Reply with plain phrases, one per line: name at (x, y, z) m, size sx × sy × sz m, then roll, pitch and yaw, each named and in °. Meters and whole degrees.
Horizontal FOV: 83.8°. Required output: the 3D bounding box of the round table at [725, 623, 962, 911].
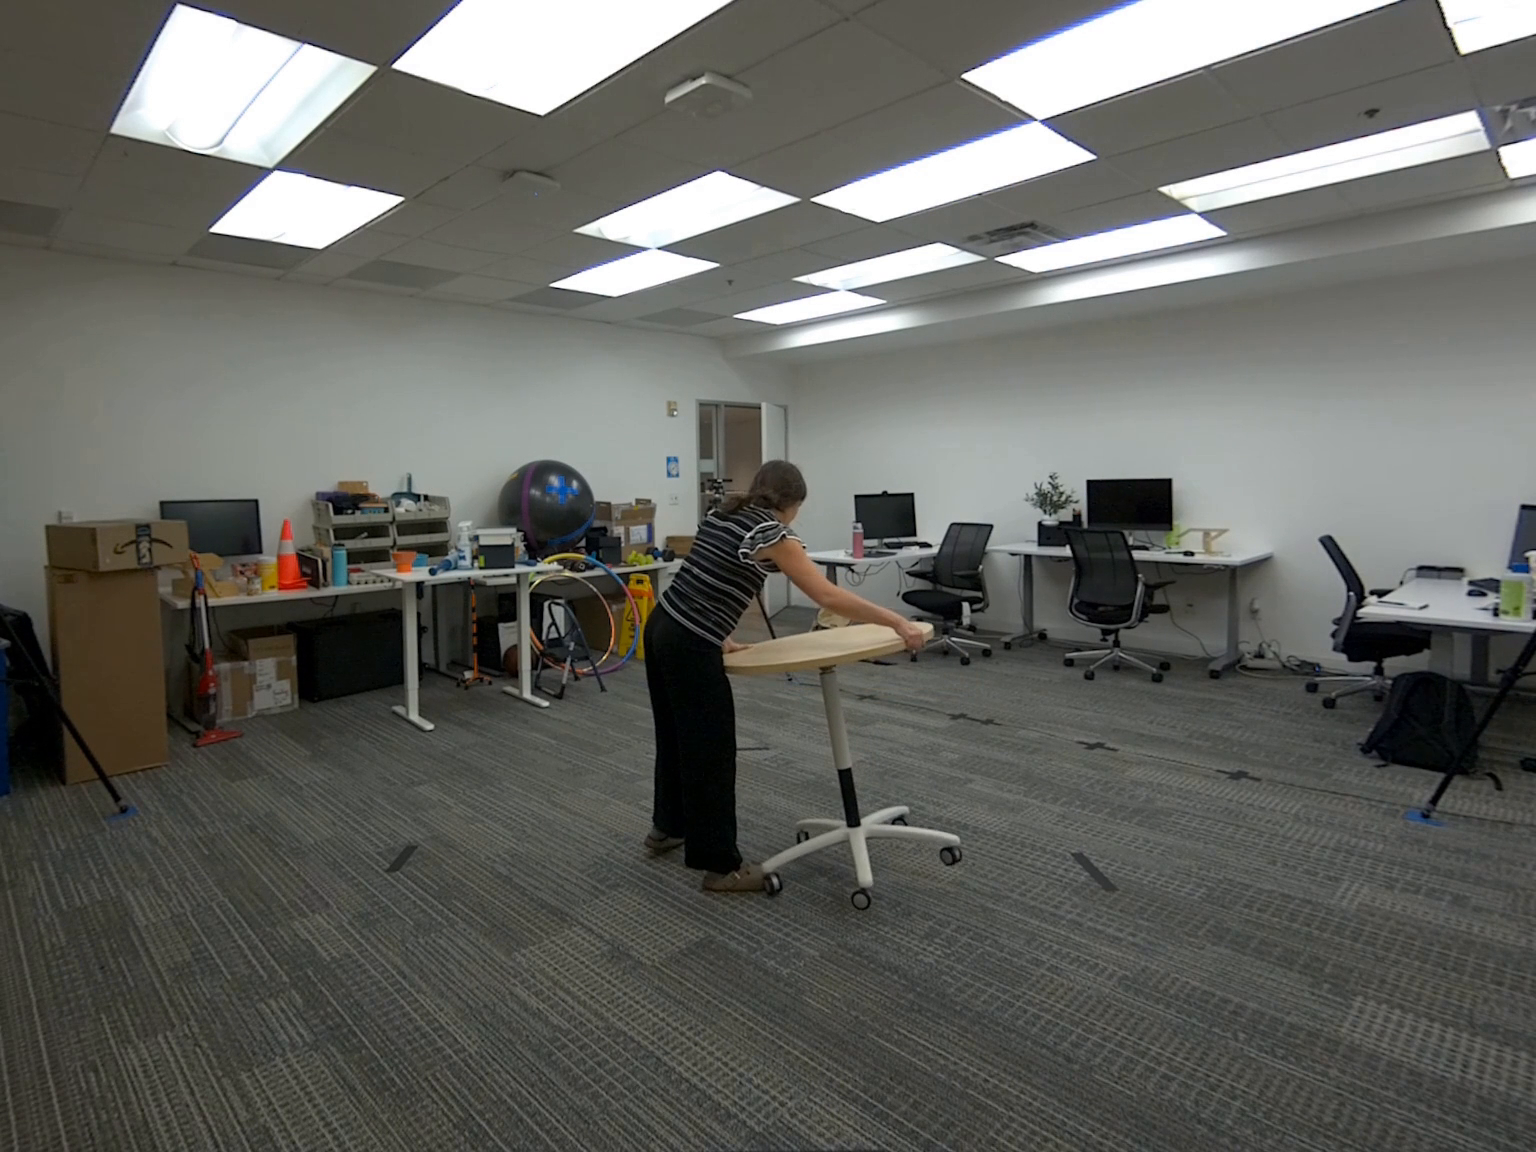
round table at (0.253, 0.622, 2.971) m, size 0.763 × 0.794 × 0.764 m, roll -10°, pitch 0°, yaw -2°
